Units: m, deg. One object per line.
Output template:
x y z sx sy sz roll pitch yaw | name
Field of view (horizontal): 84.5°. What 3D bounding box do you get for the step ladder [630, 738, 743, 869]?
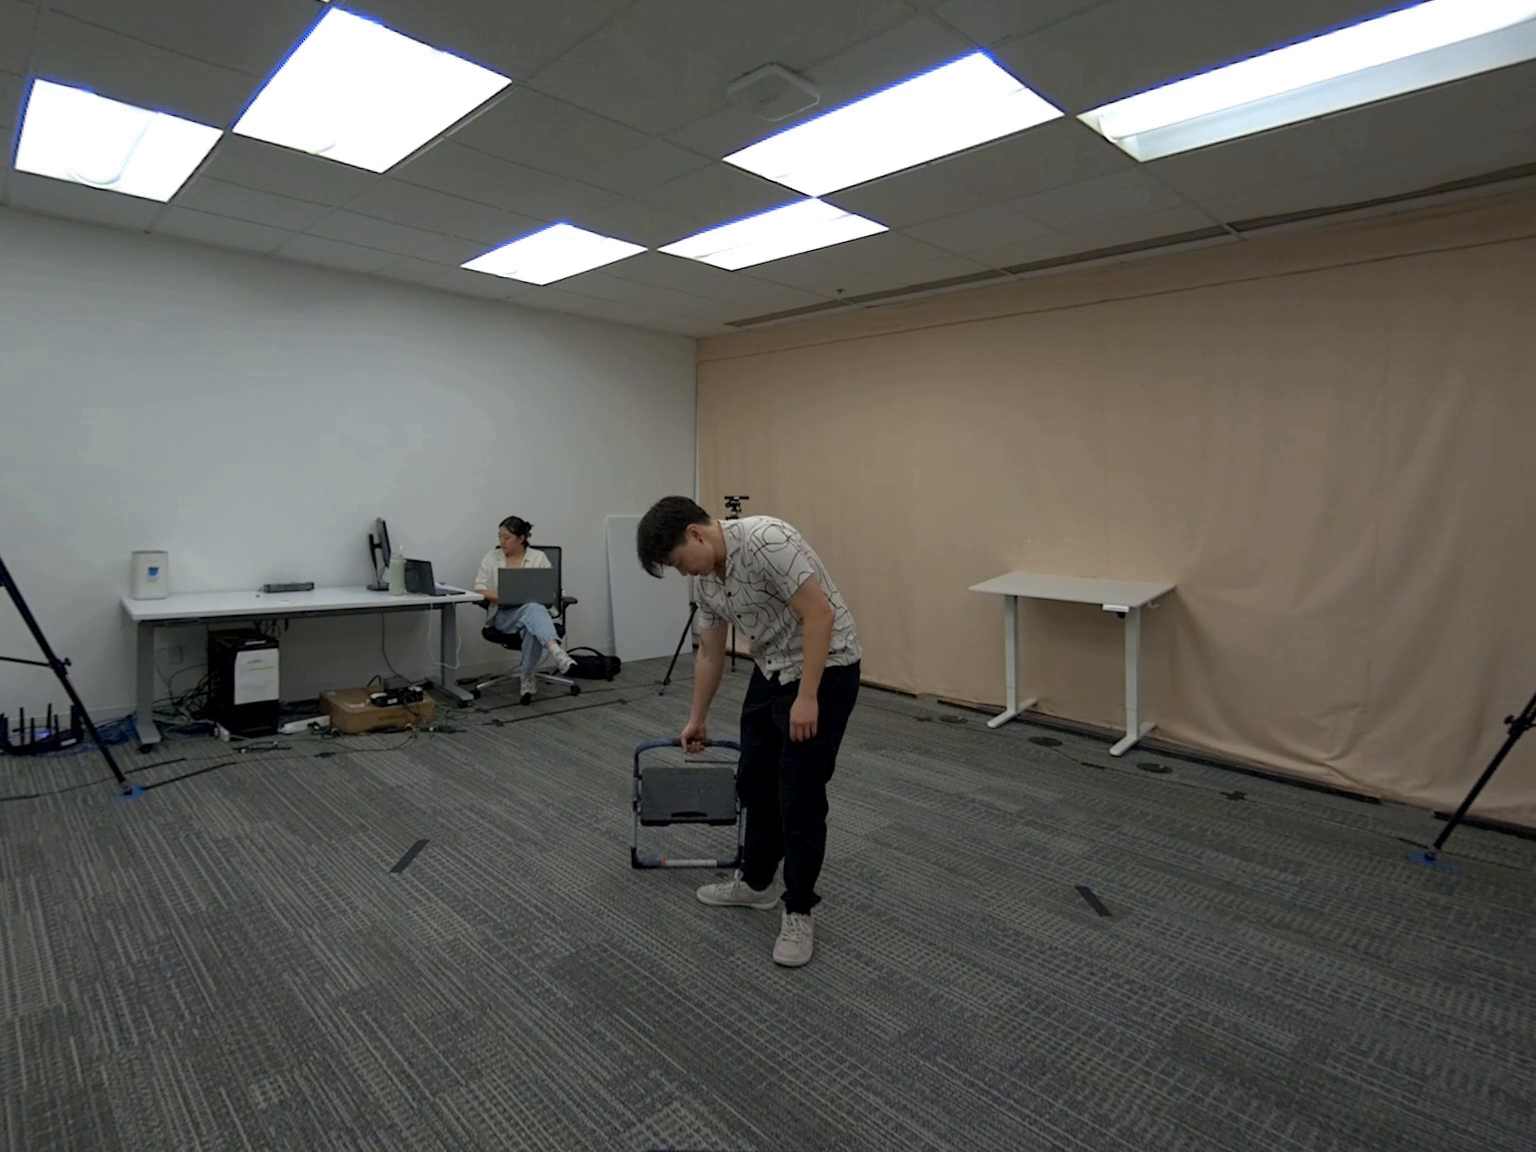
-0.305 0.759 3.118 0.428 0.594 0.358 1 37 -6 | step ladder
